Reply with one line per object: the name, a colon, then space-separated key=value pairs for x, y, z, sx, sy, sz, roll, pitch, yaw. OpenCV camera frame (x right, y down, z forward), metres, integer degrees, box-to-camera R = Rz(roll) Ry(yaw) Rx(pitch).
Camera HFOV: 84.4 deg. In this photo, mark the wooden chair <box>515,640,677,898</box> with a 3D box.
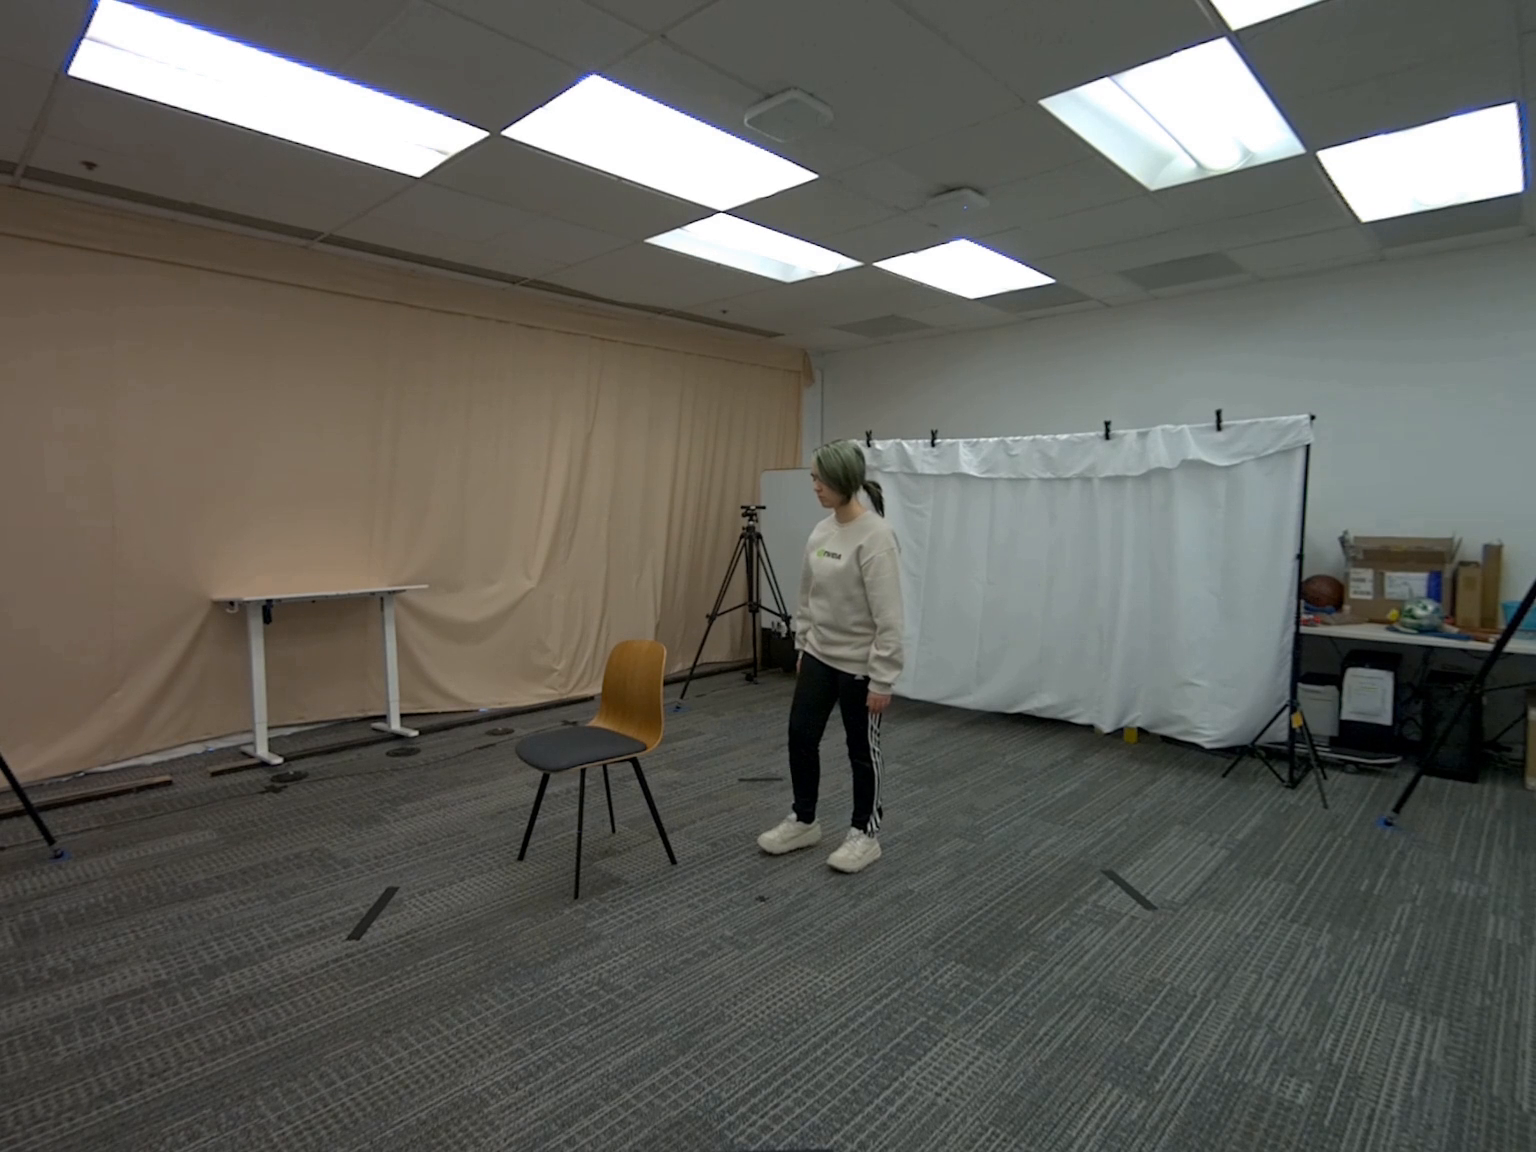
wooden chair: x=-0.681 y=0.702 z=3.271 sx=0.506 sy=0.877 sz=0.494 roll=2 pitch=1 yaw=-42
